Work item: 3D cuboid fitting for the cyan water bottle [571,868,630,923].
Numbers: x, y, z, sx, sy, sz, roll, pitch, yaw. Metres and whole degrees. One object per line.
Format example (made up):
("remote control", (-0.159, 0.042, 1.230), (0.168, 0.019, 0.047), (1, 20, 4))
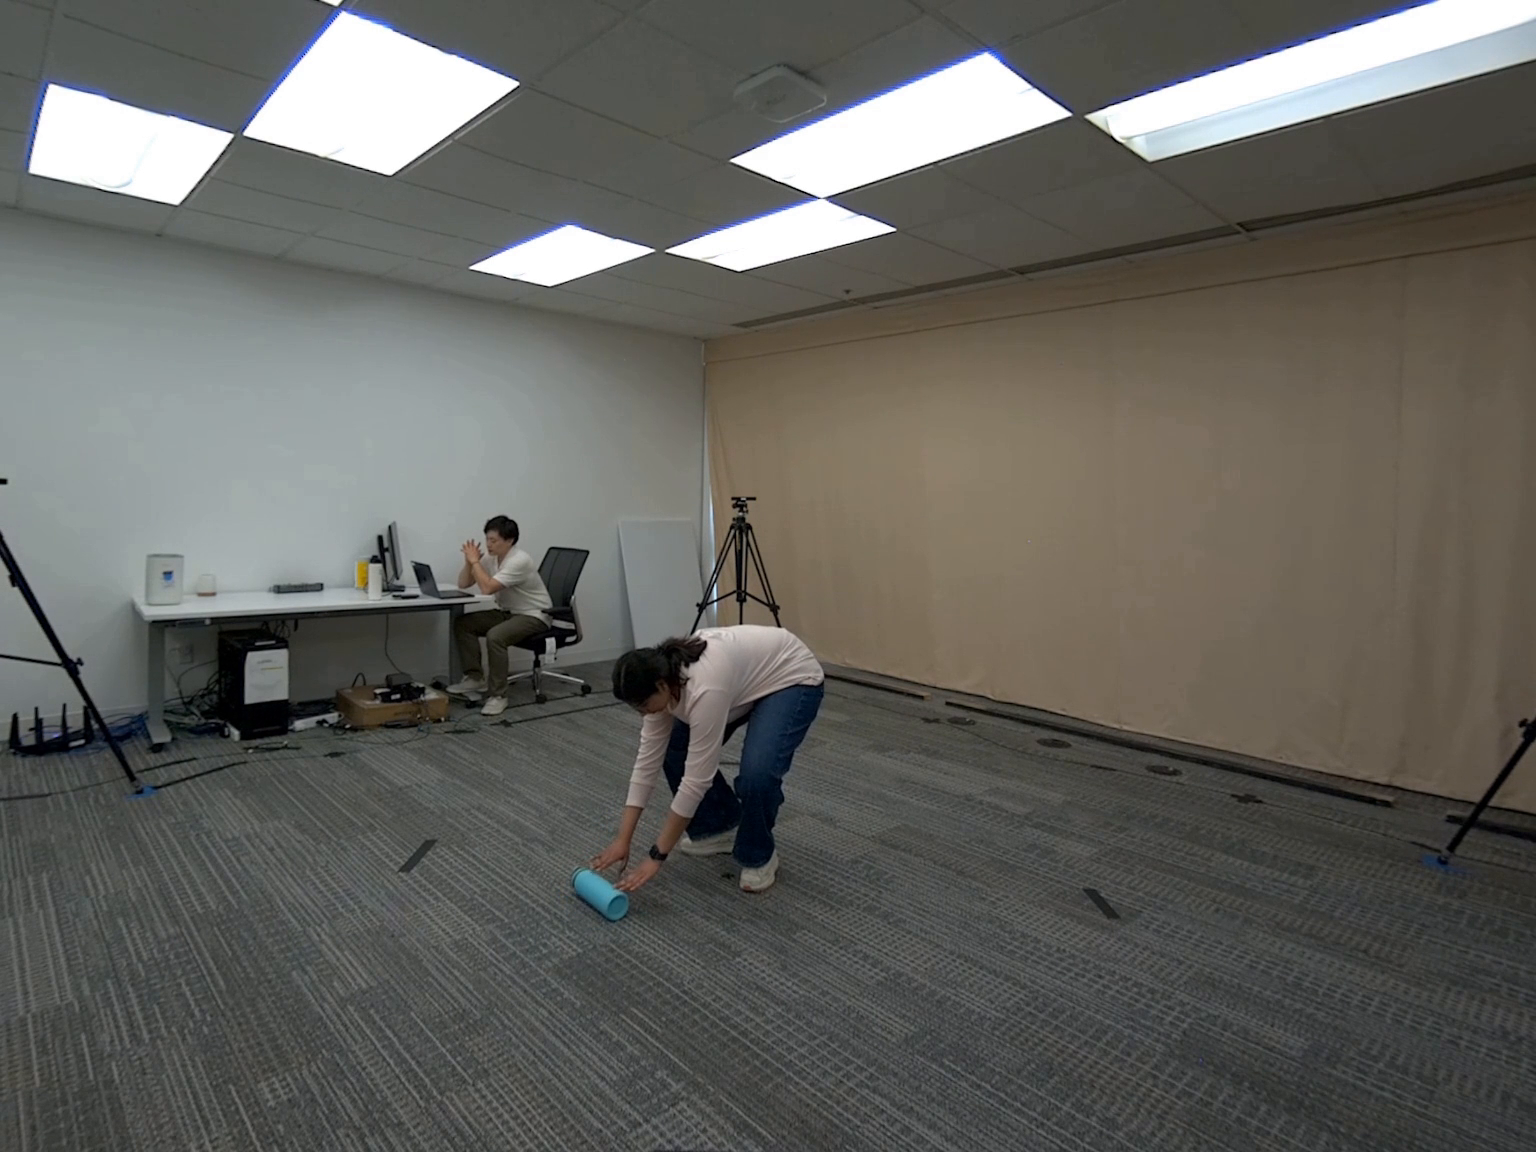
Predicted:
("cyan water bottle", (-0.586, 1.068, 2.858), (0.090, 0.092, 0.290), (-2, 6, -40))
